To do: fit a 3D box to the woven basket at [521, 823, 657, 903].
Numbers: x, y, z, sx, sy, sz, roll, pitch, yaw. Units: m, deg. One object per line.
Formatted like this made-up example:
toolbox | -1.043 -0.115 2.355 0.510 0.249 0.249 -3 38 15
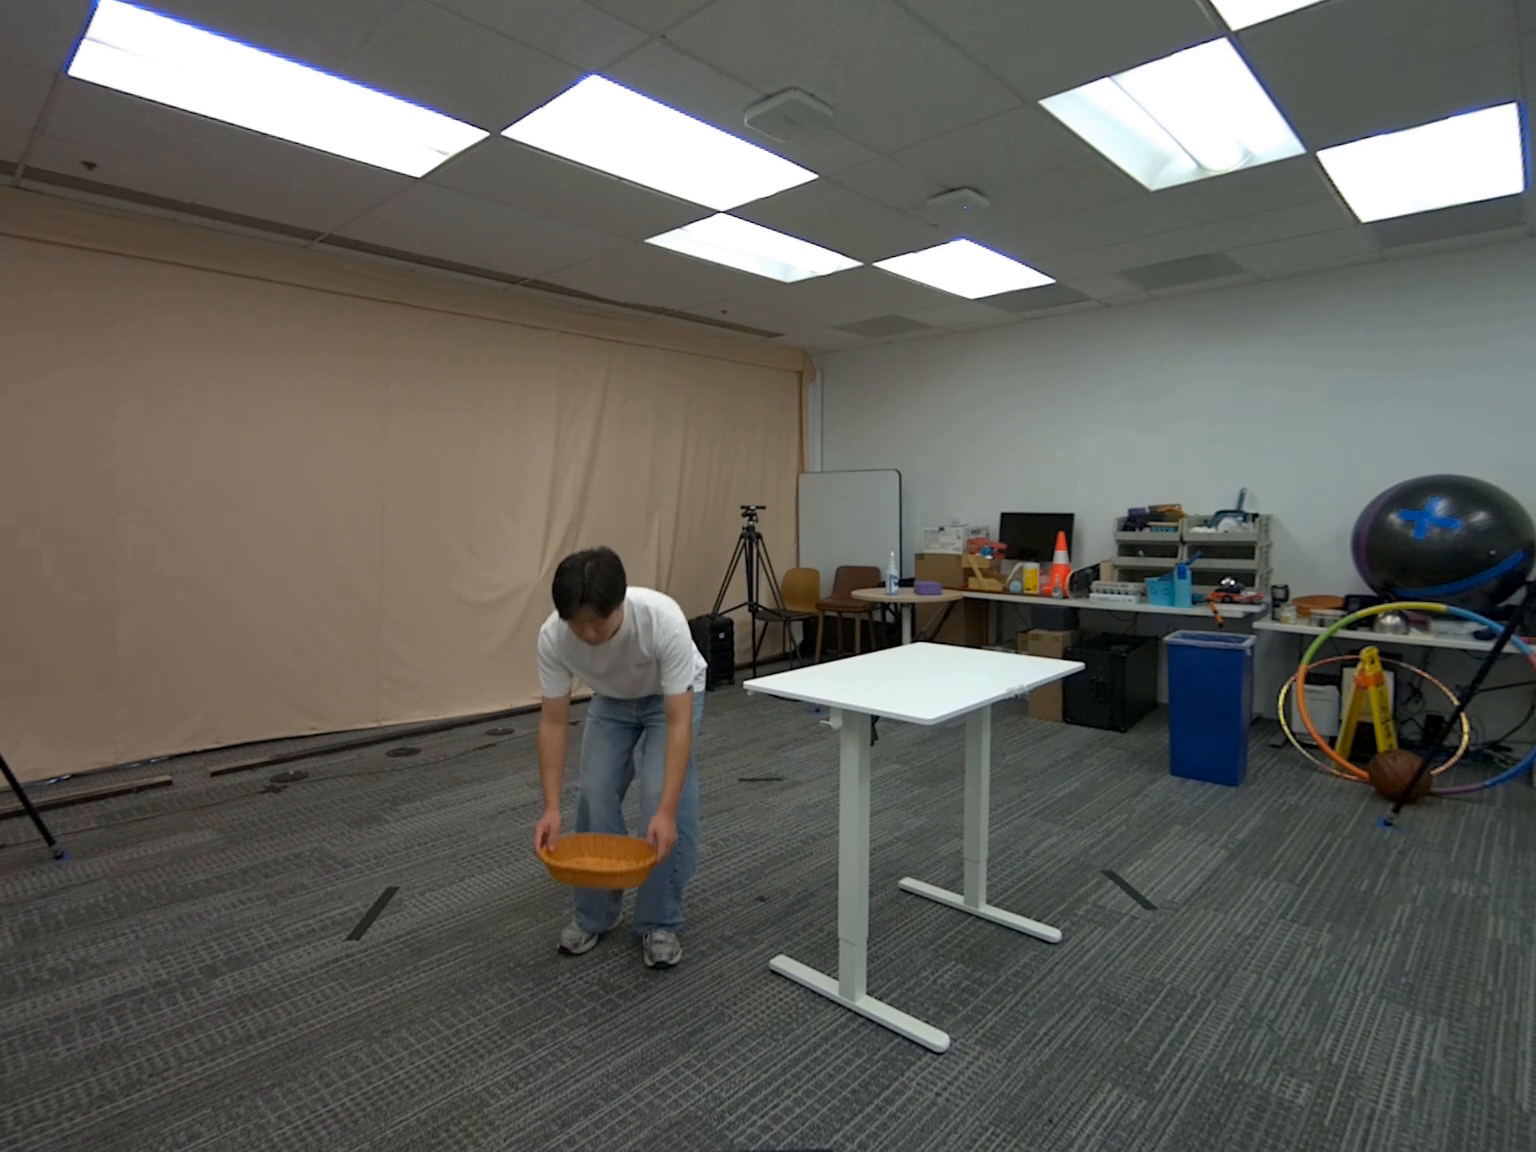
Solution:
woven basket | -0.474 0.799 2.385 0.358 0.073 0.248 1 6 19
